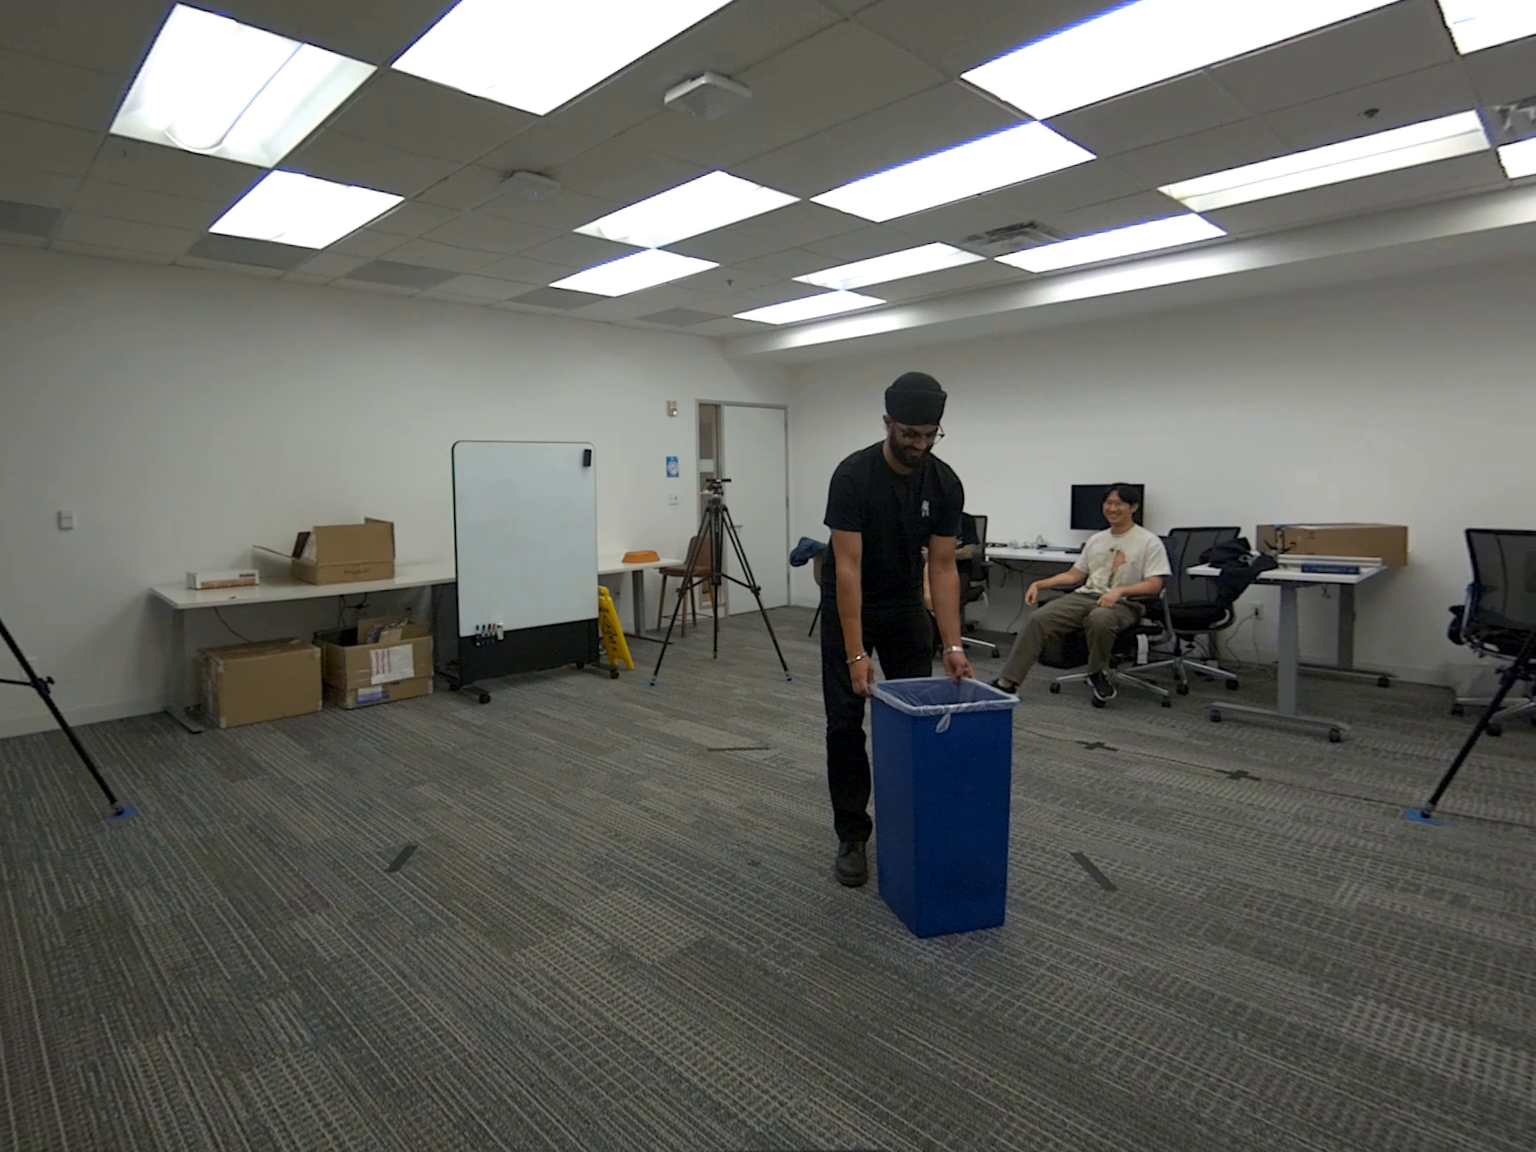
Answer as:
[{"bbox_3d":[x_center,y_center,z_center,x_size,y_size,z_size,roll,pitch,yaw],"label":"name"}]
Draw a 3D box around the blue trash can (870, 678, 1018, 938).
[{"bbox_3d":[0.547,0.723,2.741,0.373,0.711,0.381,-2,4,-16],"label":"blue trash can"}]
